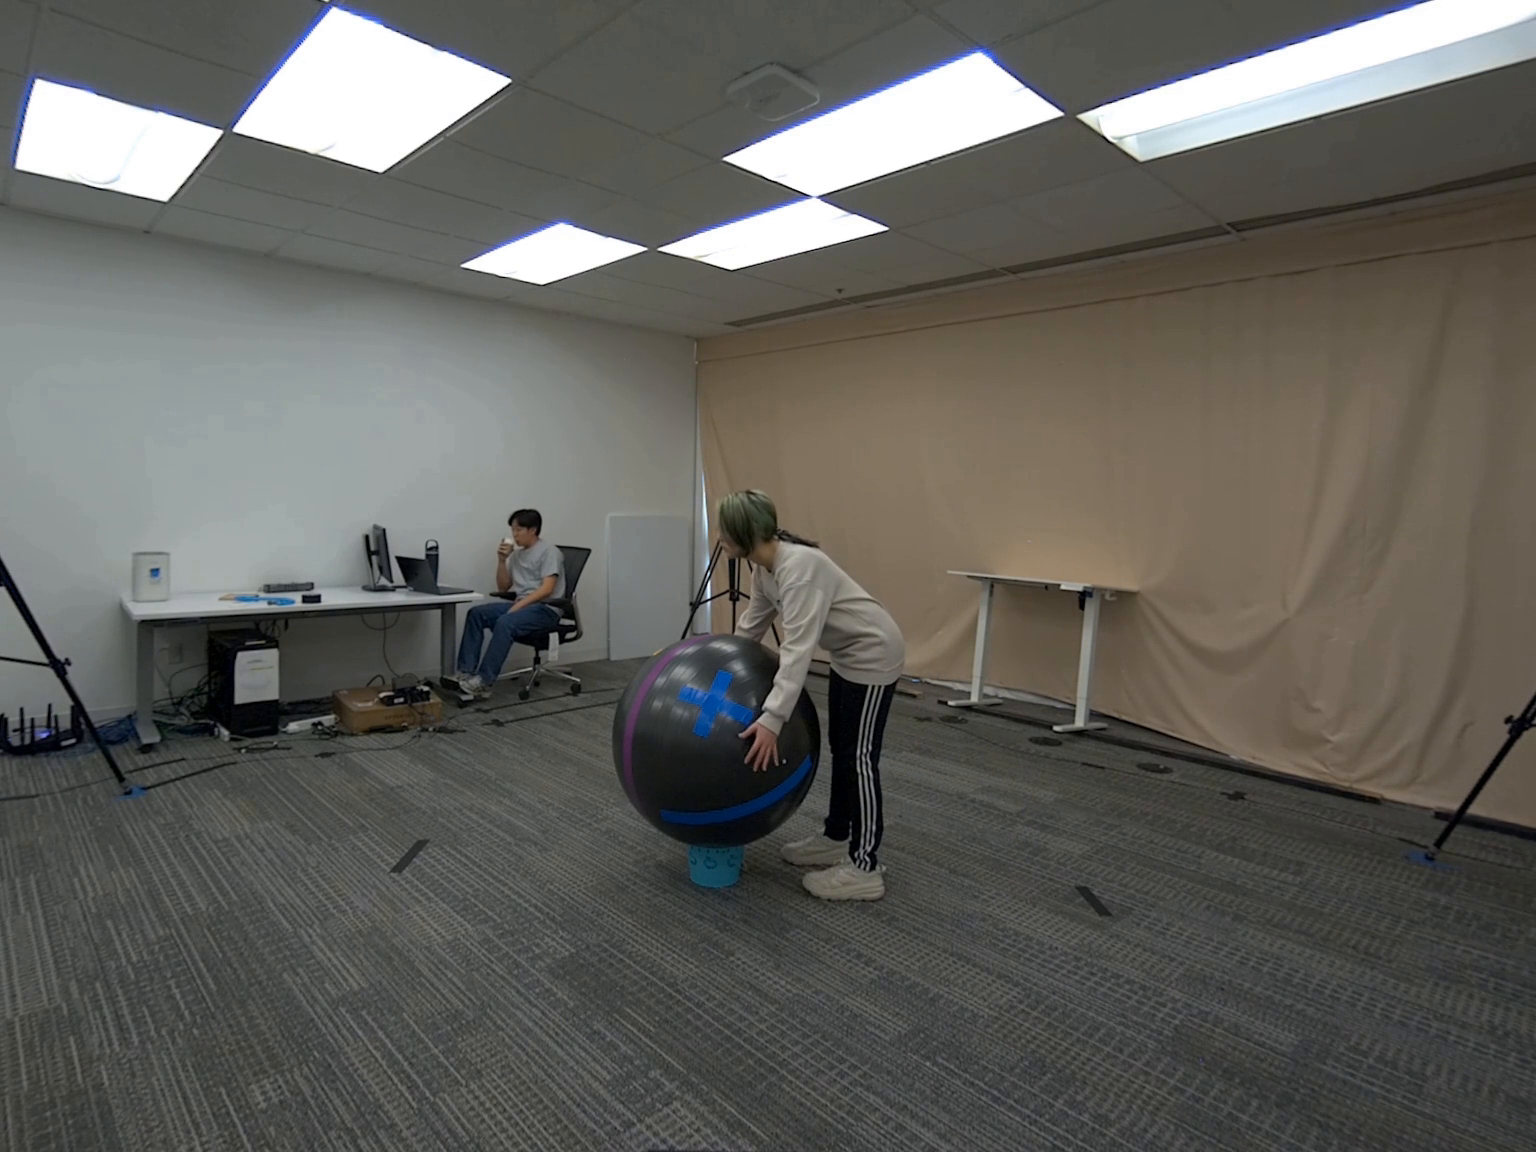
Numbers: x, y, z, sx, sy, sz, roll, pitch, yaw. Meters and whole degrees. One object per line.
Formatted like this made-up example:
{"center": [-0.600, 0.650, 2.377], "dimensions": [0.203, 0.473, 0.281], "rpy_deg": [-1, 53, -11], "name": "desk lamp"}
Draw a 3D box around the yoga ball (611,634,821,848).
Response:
{"center": [-0.197, 0.595, 3.073], "dimensions": [0.757, 0.756, 0.761], "rpy_deg": [1, 4, -1], "name": "yoga ball"}
